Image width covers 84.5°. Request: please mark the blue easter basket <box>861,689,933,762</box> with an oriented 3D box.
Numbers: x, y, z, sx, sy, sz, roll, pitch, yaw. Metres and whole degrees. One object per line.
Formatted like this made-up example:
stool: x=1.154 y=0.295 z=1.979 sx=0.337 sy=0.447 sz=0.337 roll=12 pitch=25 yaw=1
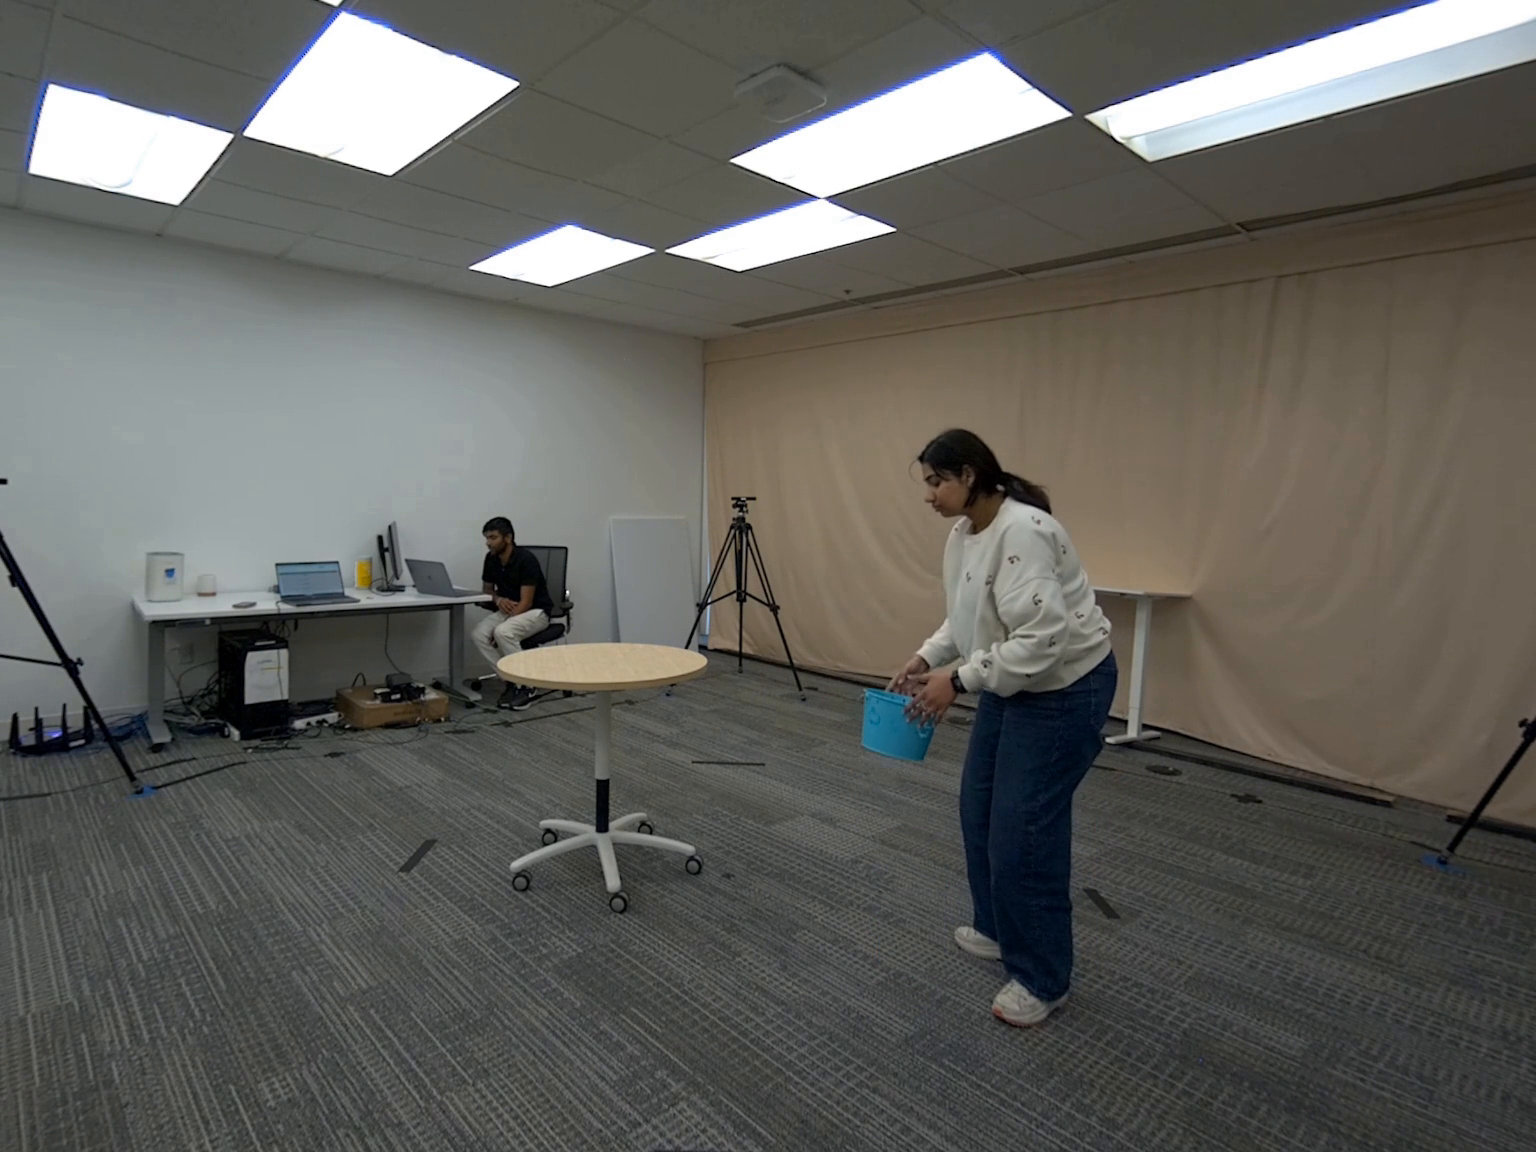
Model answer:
blue easter basket: x=0.380 y=0.432 z=2.399 sx=0.243 sy=0.156 sz=0.244 roll=13 pitch=1 yaw=-2
